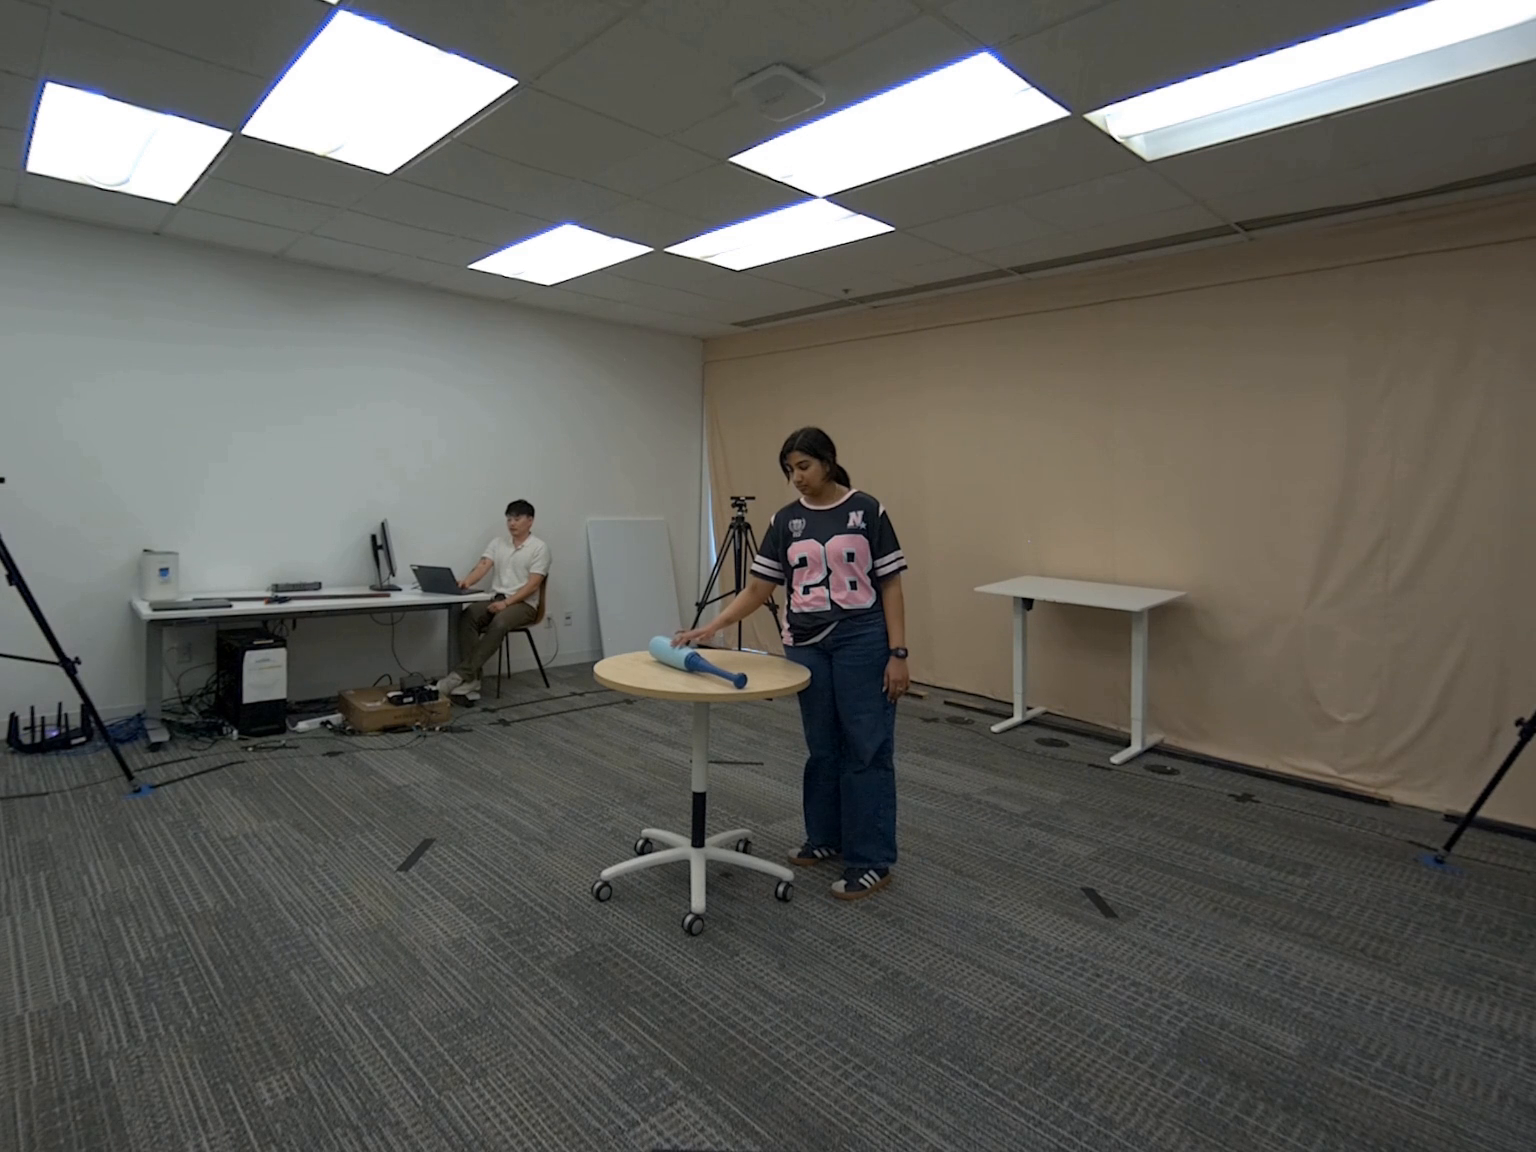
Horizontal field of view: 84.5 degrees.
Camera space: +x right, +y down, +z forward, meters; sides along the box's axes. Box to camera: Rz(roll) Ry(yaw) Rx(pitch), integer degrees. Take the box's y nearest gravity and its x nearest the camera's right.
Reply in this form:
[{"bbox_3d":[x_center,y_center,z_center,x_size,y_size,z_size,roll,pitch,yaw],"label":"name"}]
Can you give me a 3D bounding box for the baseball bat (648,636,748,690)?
[{"bbox_3d":[-0.254,0.303,2.888,0.087,0.088,0.557,-1,9,-34],"label":"baseball bat"}]
